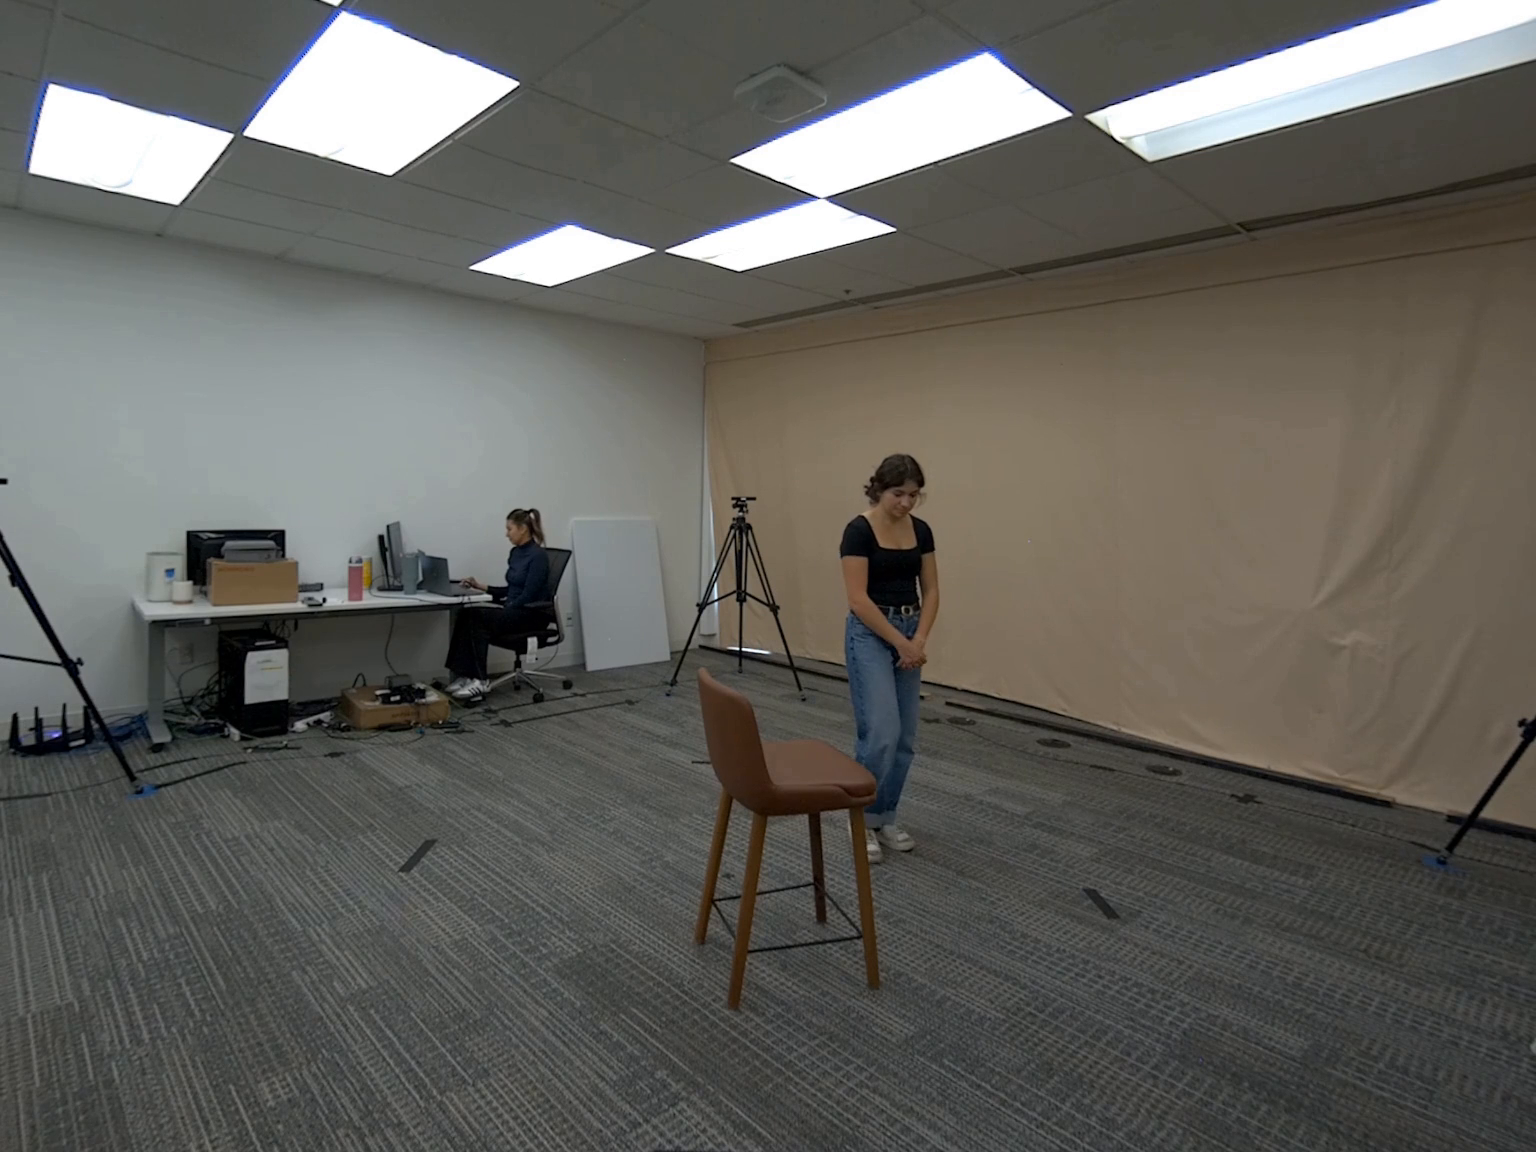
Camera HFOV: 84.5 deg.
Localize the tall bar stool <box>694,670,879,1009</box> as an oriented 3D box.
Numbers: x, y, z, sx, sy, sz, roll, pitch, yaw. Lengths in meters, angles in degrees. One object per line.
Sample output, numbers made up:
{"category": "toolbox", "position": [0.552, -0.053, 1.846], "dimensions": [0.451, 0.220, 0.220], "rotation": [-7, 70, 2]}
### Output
{"category": "tall bar stool", "position": [0.042, 0.732, 2.502], "dimensions": [0.461, 0.887, 0.464], "rotation": [-1, 4, -19]}
